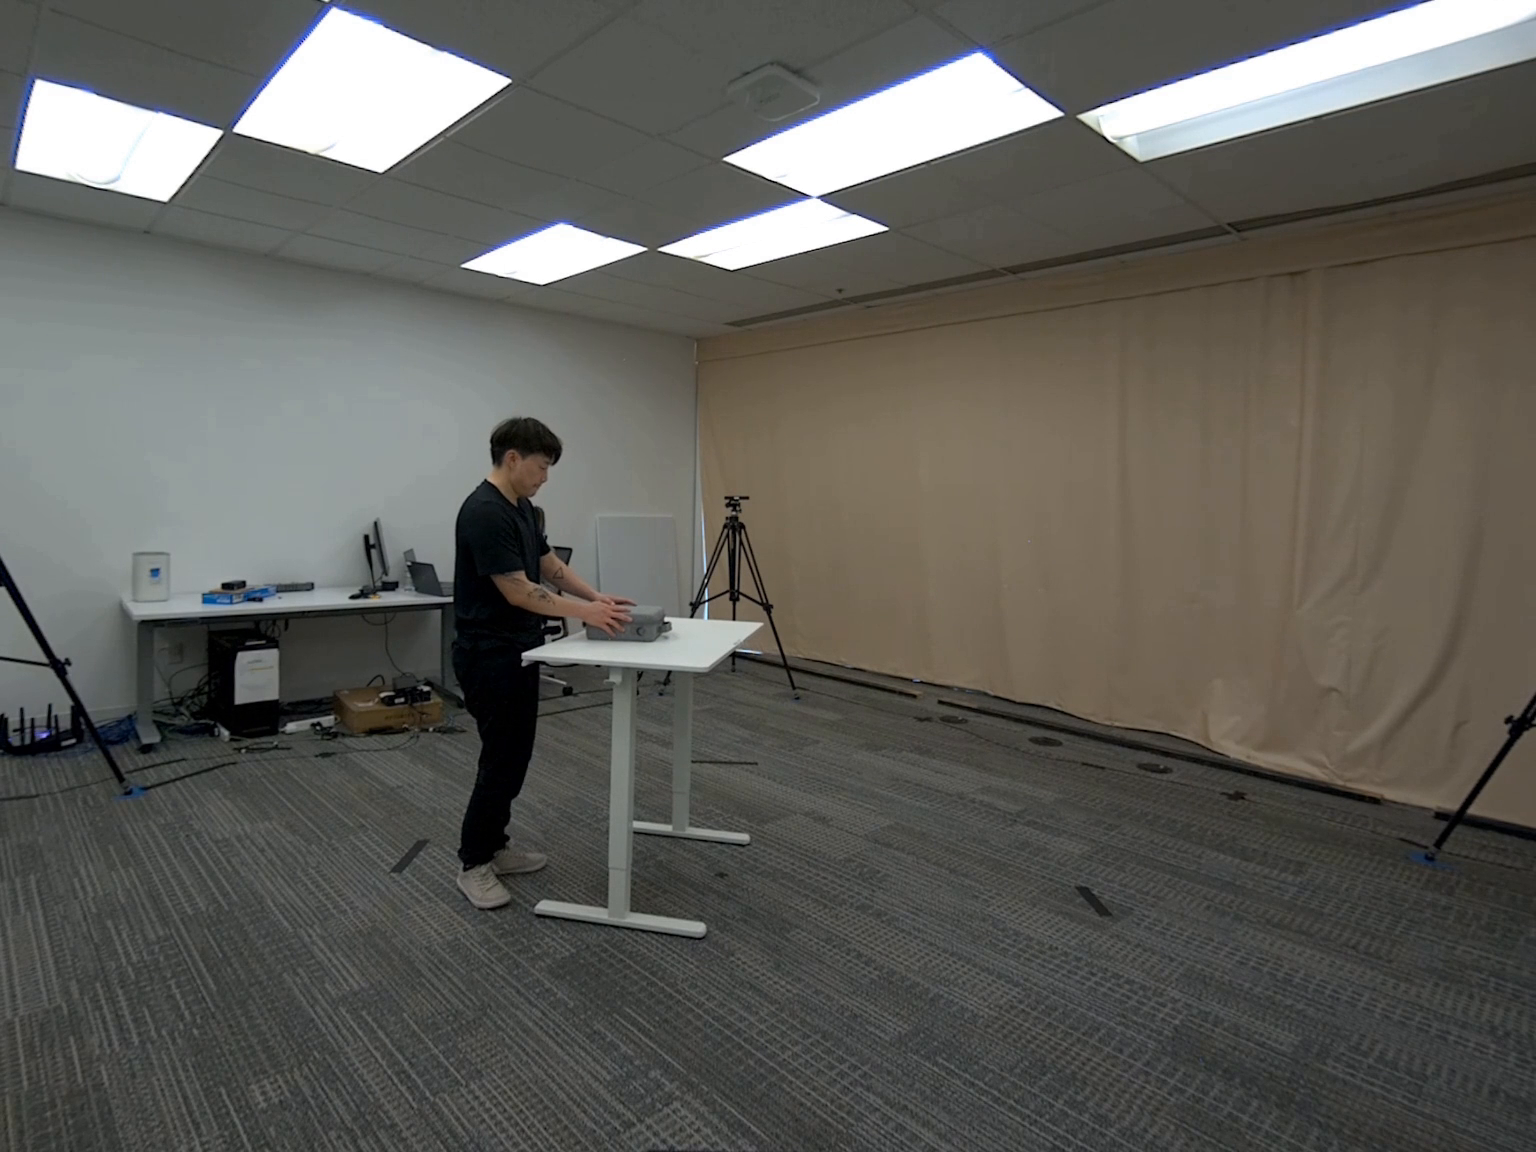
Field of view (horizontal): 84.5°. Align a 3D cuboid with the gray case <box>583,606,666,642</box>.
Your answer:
[{"bbox_3d":[-0.510,0.171,3.040,0.261,0.104,0.257,1,4,3],"label":"gray case"}]
